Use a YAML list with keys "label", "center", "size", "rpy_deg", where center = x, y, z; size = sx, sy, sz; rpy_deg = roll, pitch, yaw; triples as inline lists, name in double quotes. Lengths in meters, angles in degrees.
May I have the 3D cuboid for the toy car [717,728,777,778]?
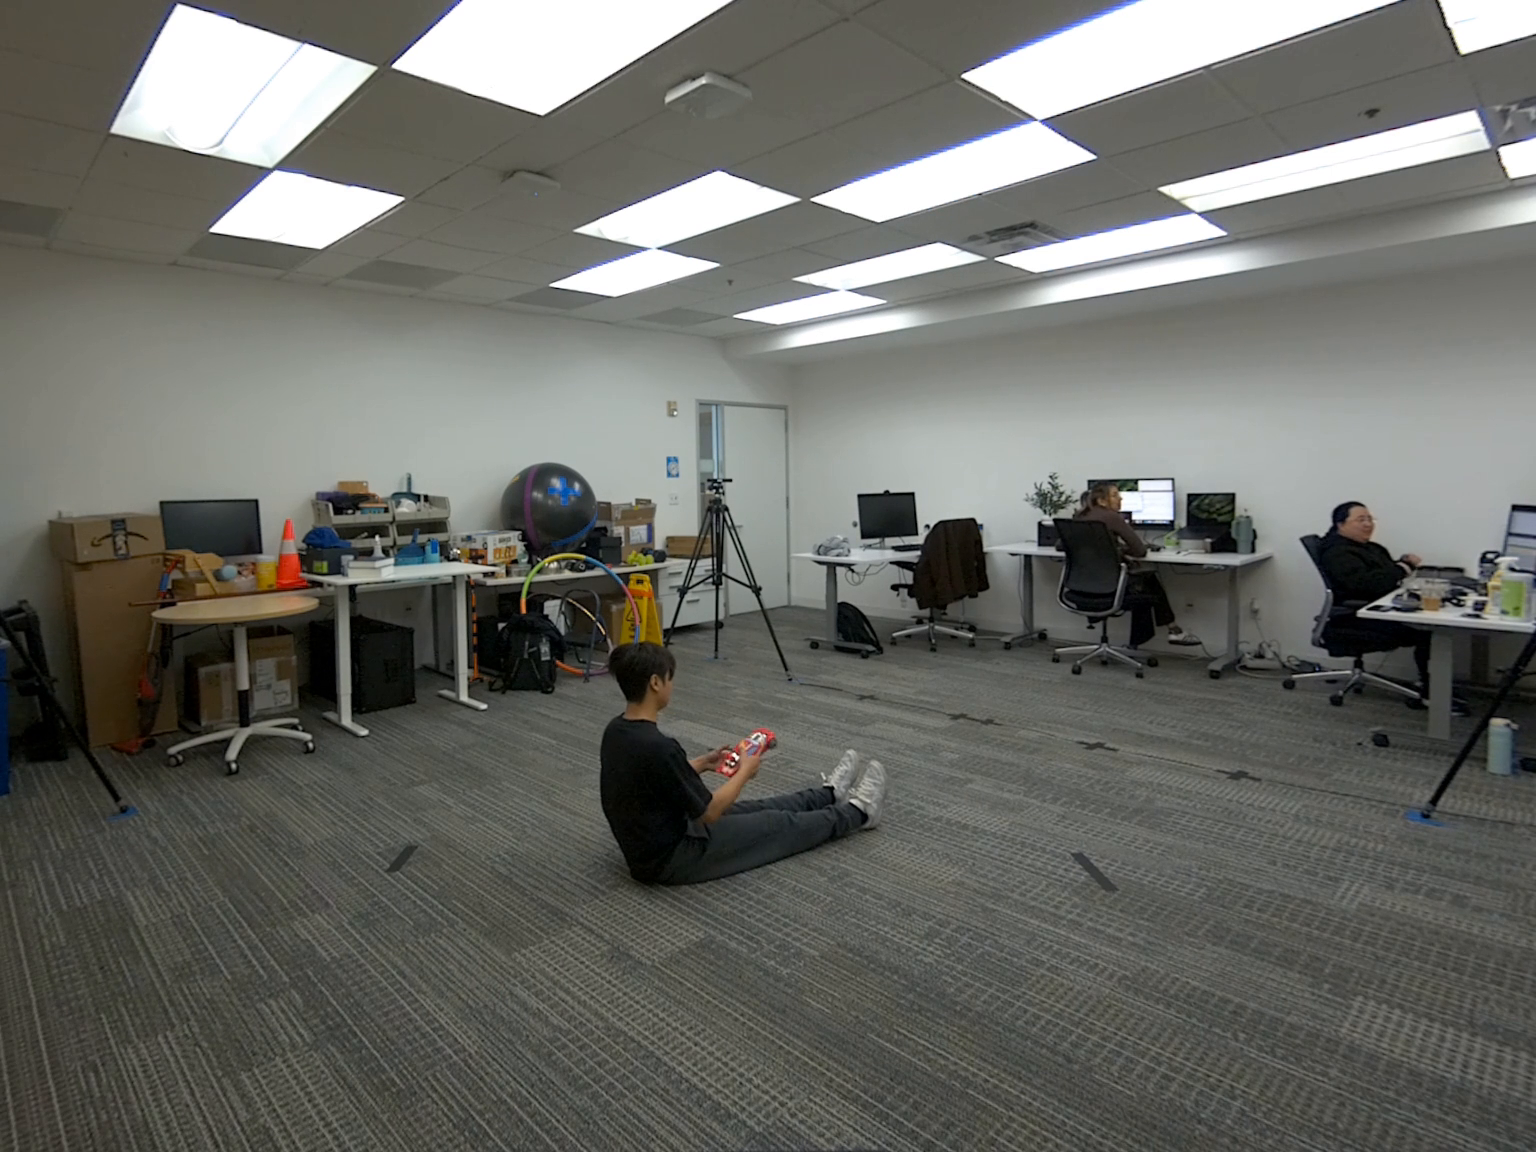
- label: "toy car"
  center: [-0.091, 0.689, 3.227]
  size: [0.252, 0.081, 0.135]
  rpy_deg: [-31, 26, -28]
